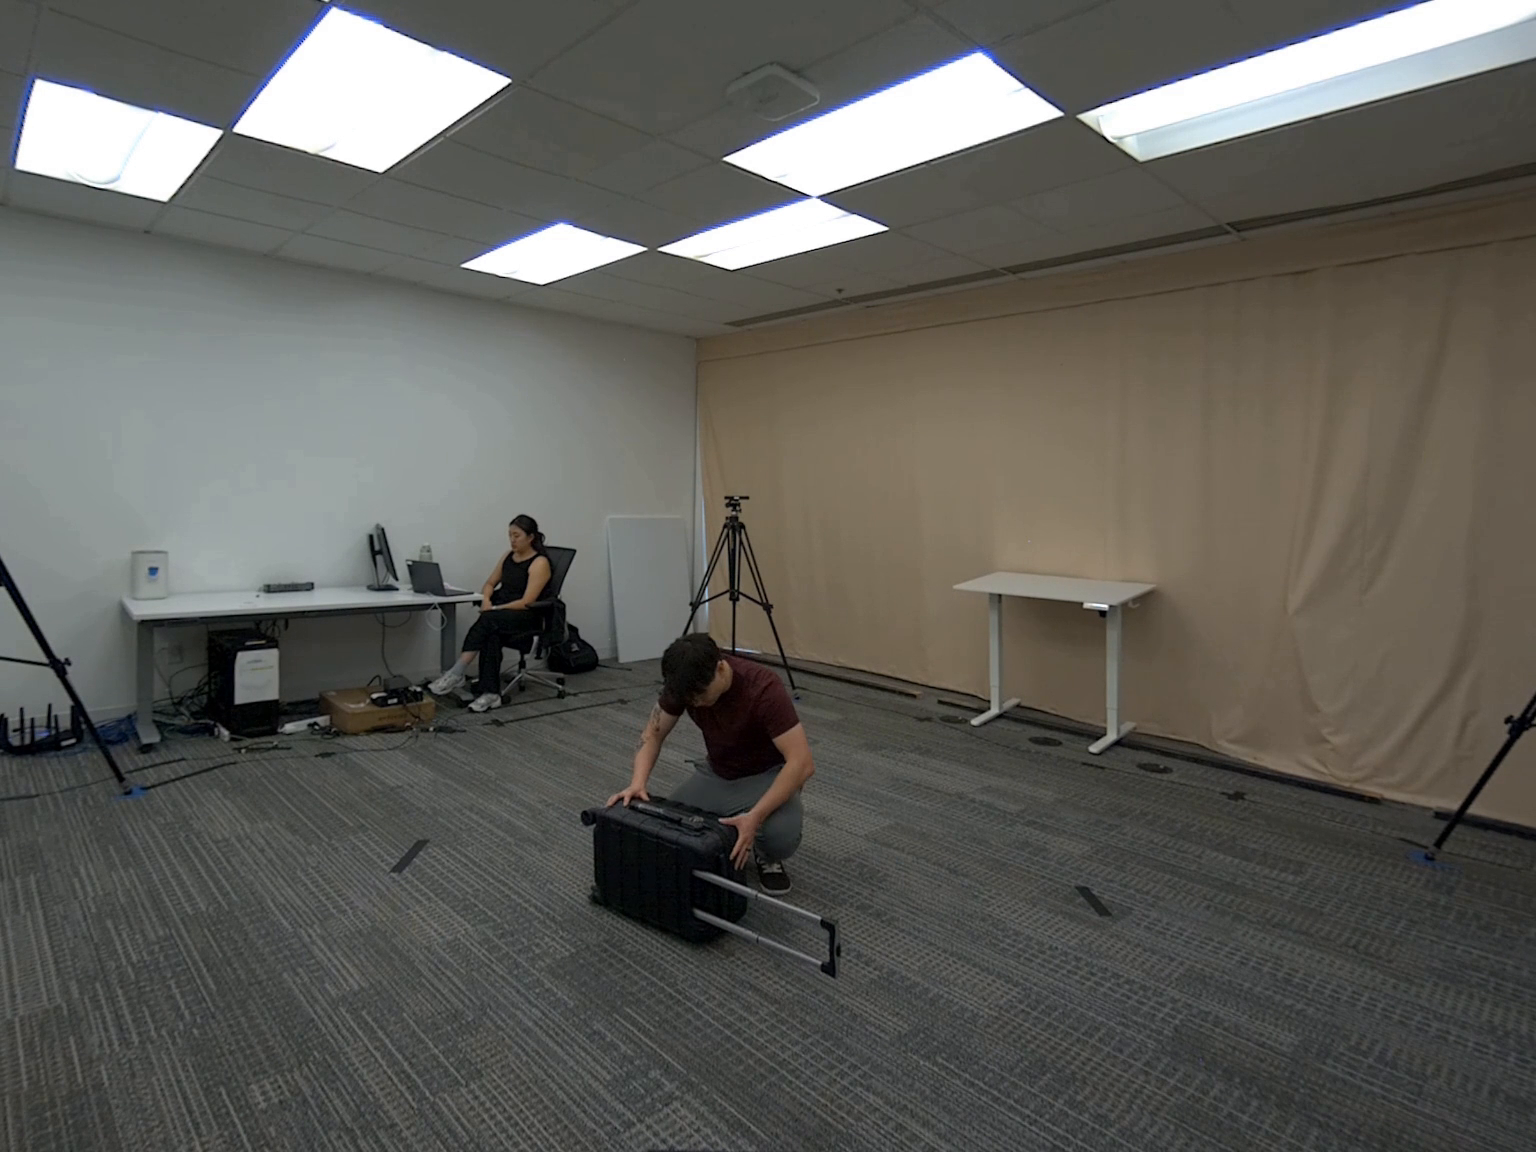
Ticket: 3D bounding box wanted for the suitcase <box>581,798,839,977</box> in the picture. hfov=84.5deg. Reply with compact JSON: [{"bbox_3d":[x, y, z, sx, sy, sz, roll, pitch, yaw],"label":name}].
[{"bbox_3d":[-0.173,0.956,2.640,1.002,0.382,0.252,4,8,36],"label":"suitcase"}]
